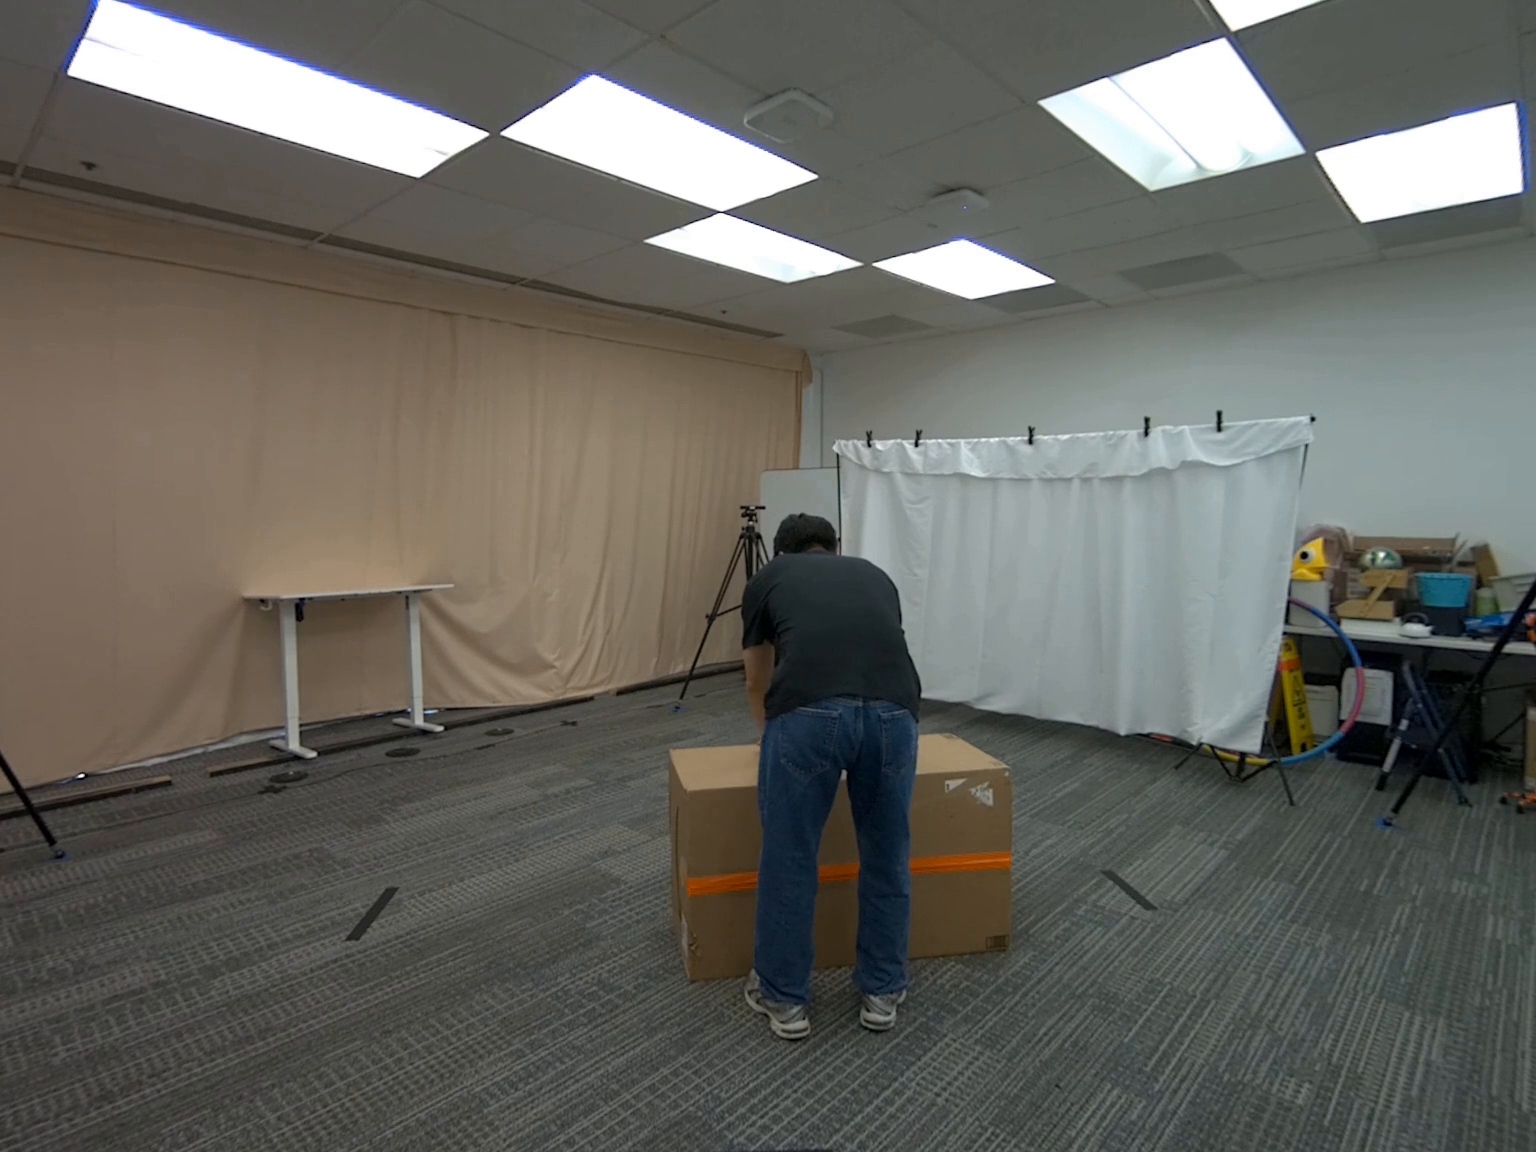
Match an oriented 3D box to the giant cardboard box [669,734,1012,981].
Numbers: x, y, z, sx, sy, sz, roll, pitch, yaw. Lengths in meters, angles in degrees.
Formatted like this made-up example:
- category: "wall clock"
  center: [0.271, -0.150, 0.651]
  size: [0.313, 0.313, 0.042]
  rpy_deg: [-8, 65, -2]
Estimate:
- category: "giant cardboard box"
  center: [0.215, 0.875, 2.734]
  size: [1.015, 0.582, 0.453]
  rpy_deg: [-2, 4, -11]
